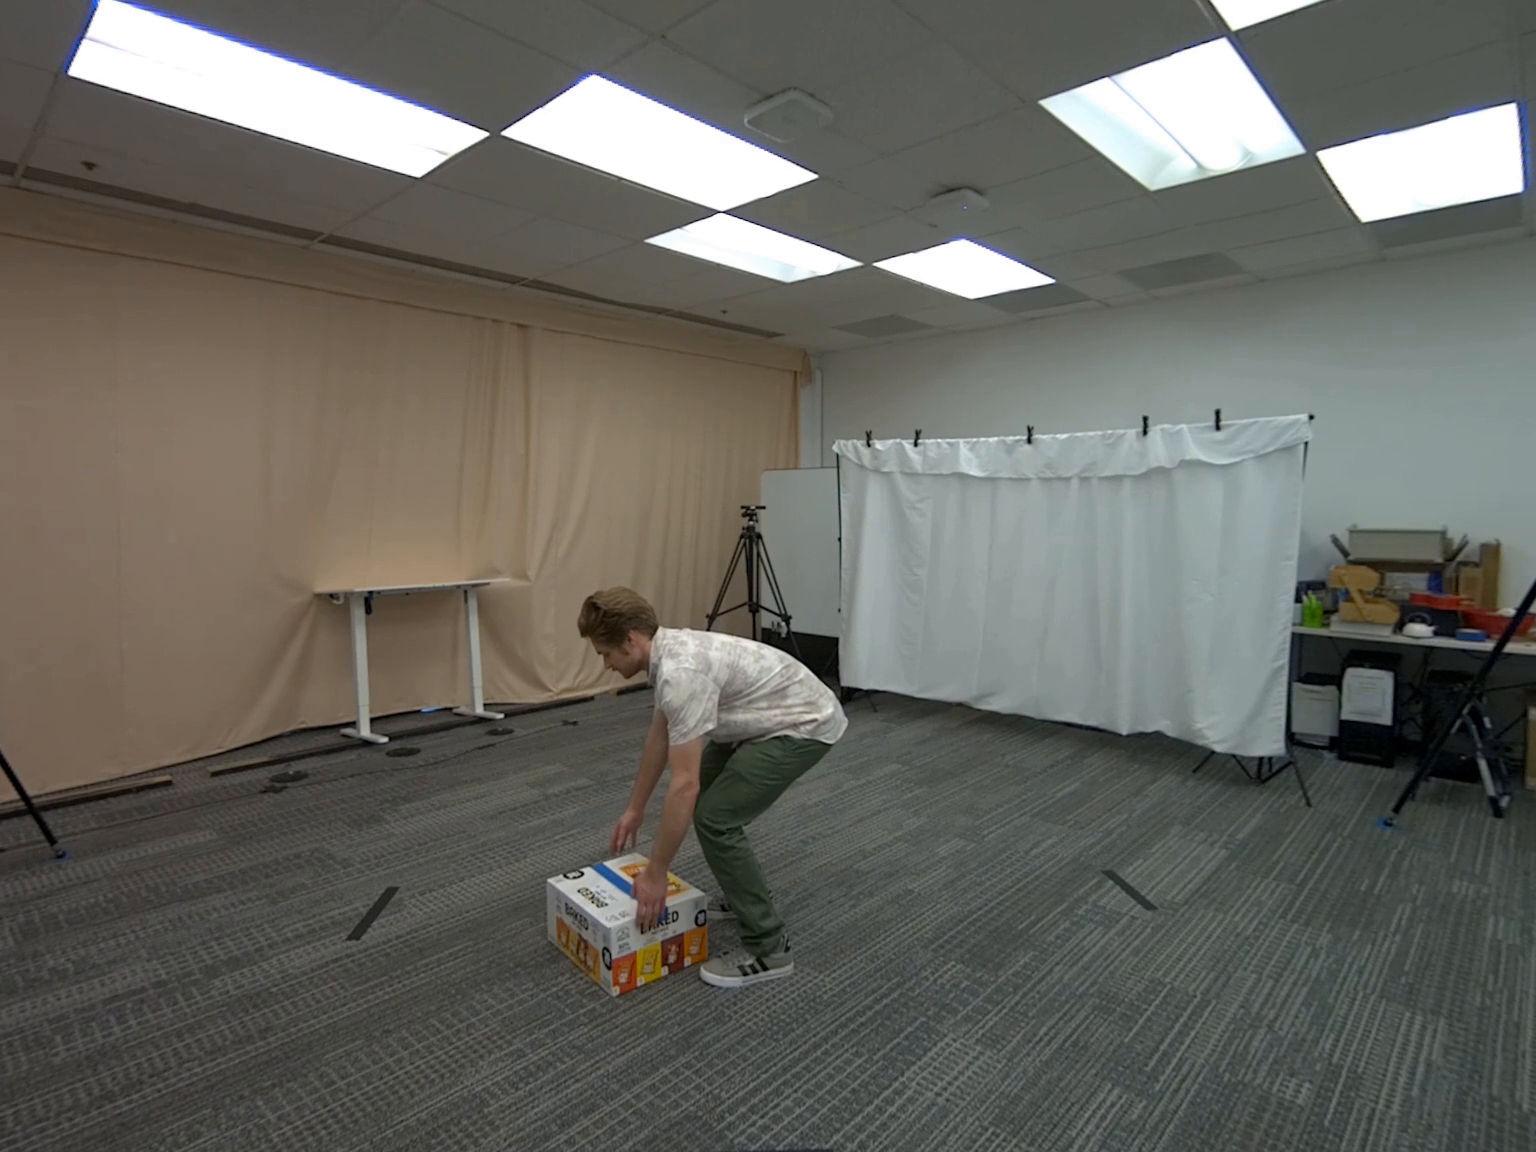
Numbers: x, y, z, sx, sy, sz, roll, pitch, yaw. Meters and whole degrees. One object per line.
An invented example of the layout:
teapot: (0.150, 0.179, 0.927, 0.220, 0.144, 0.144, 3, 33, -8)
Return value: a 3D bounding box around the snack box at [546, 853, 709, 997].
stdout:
snack box: (-0.446, 1.075, 2.634, 0.330, 0.205, 0.418, -3, 5, -39)
